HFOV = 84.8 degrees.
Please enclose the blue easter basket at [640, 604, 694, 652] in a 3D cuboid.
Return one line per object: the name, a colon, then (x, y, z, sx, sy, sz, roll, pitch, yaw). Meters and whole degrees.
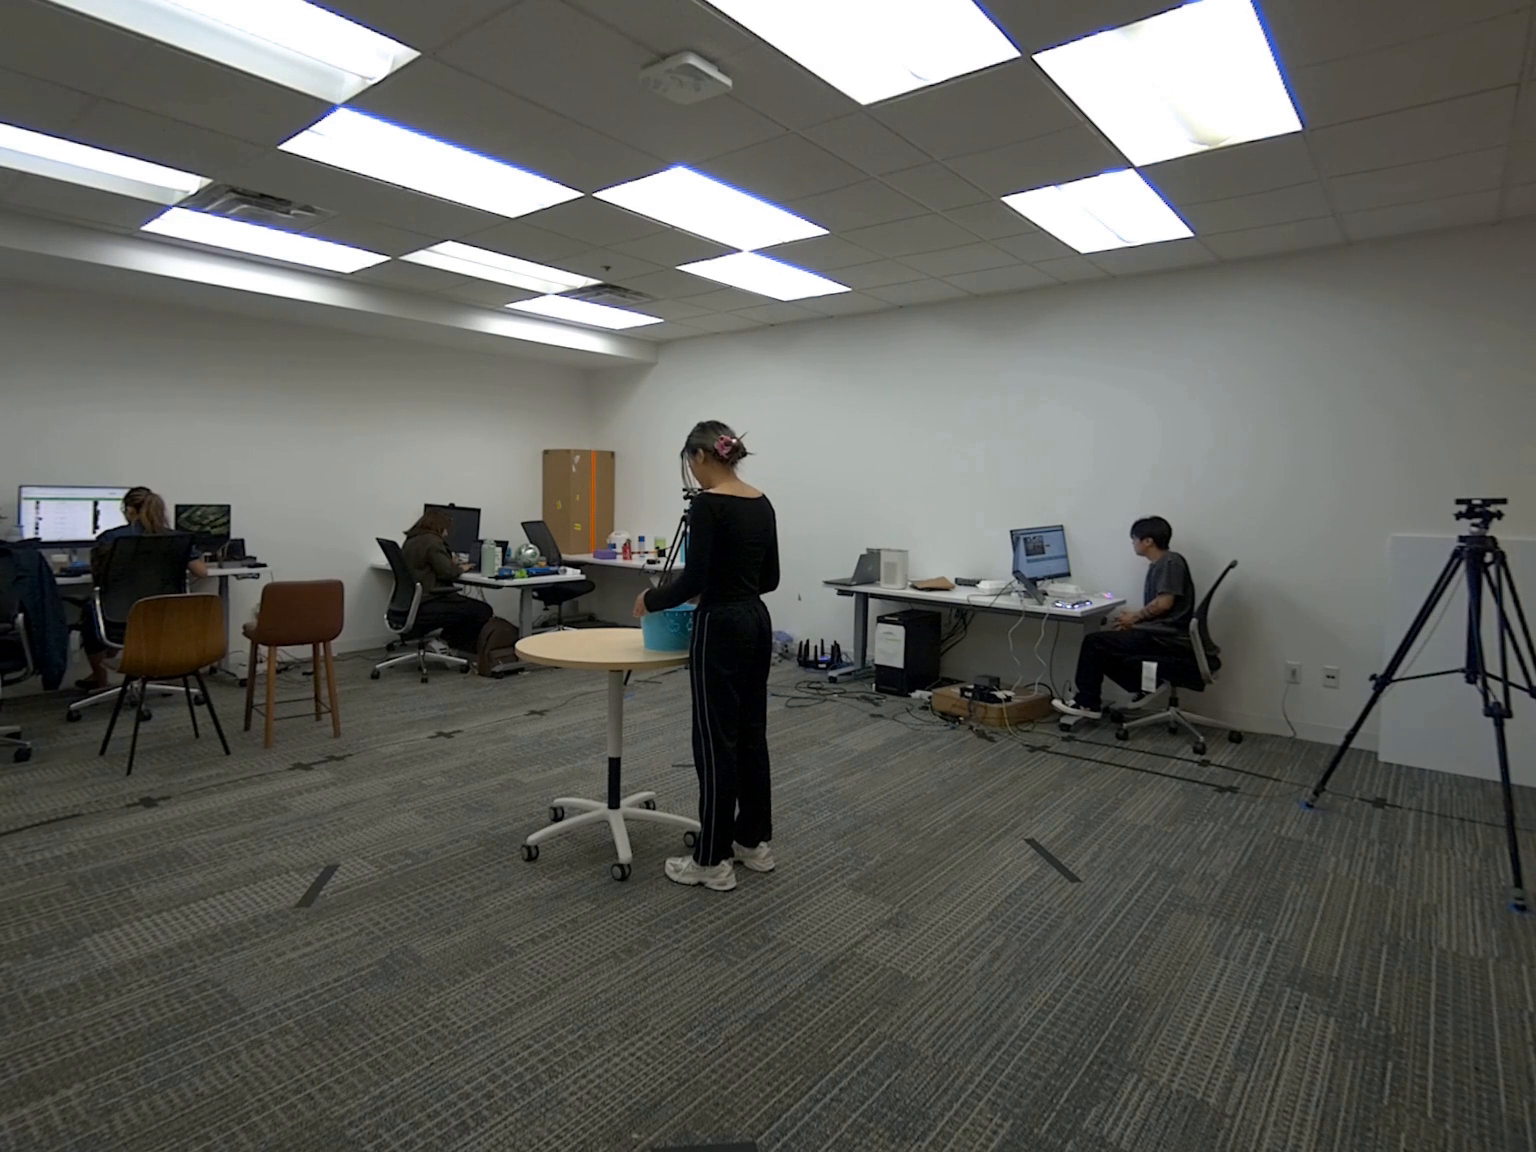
blue easter basket: (-0.390, 0.190, 3.255, 0.243, 0.155, 0.244, 2, 4, -2)
